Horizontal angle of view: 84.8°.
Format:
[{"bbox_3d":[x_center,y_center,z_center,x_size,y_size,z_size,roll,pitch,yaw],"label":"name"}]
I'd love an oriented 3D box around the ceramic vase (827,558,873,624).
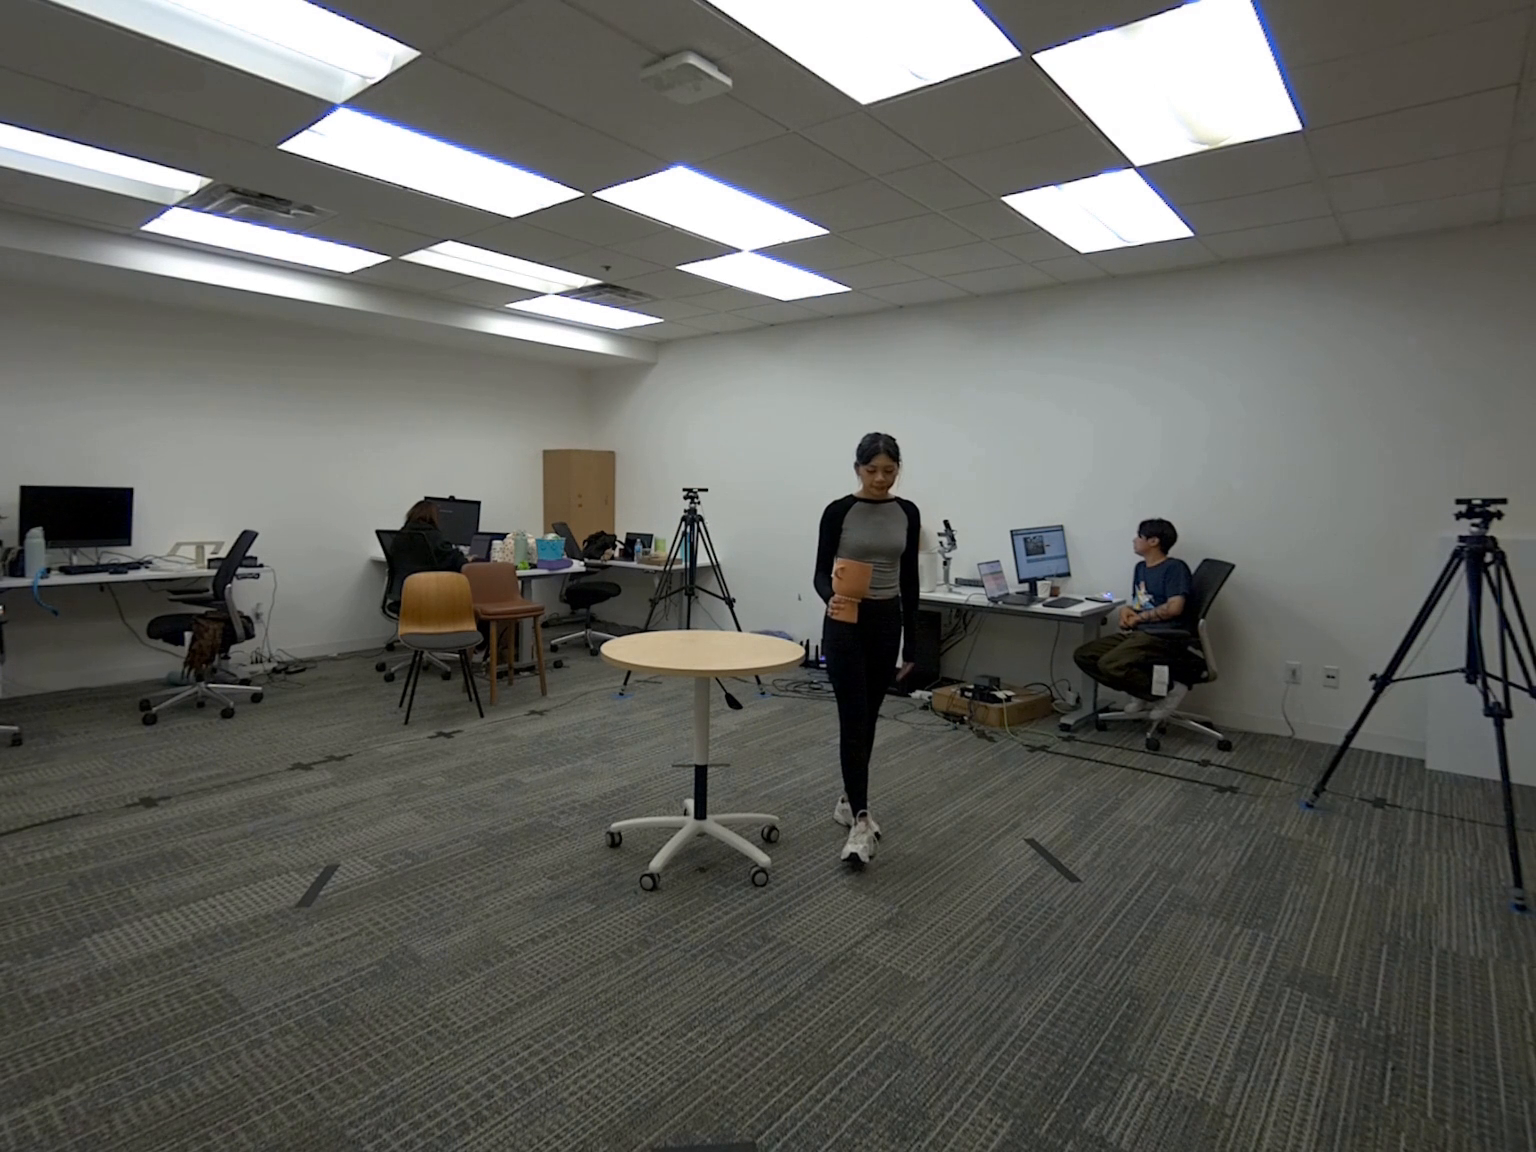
[{"bbox_3d":[0.287,0.051,3.123,0.157,0.220,0.136,12,0,-7],"label":"ceramic vase"}]
